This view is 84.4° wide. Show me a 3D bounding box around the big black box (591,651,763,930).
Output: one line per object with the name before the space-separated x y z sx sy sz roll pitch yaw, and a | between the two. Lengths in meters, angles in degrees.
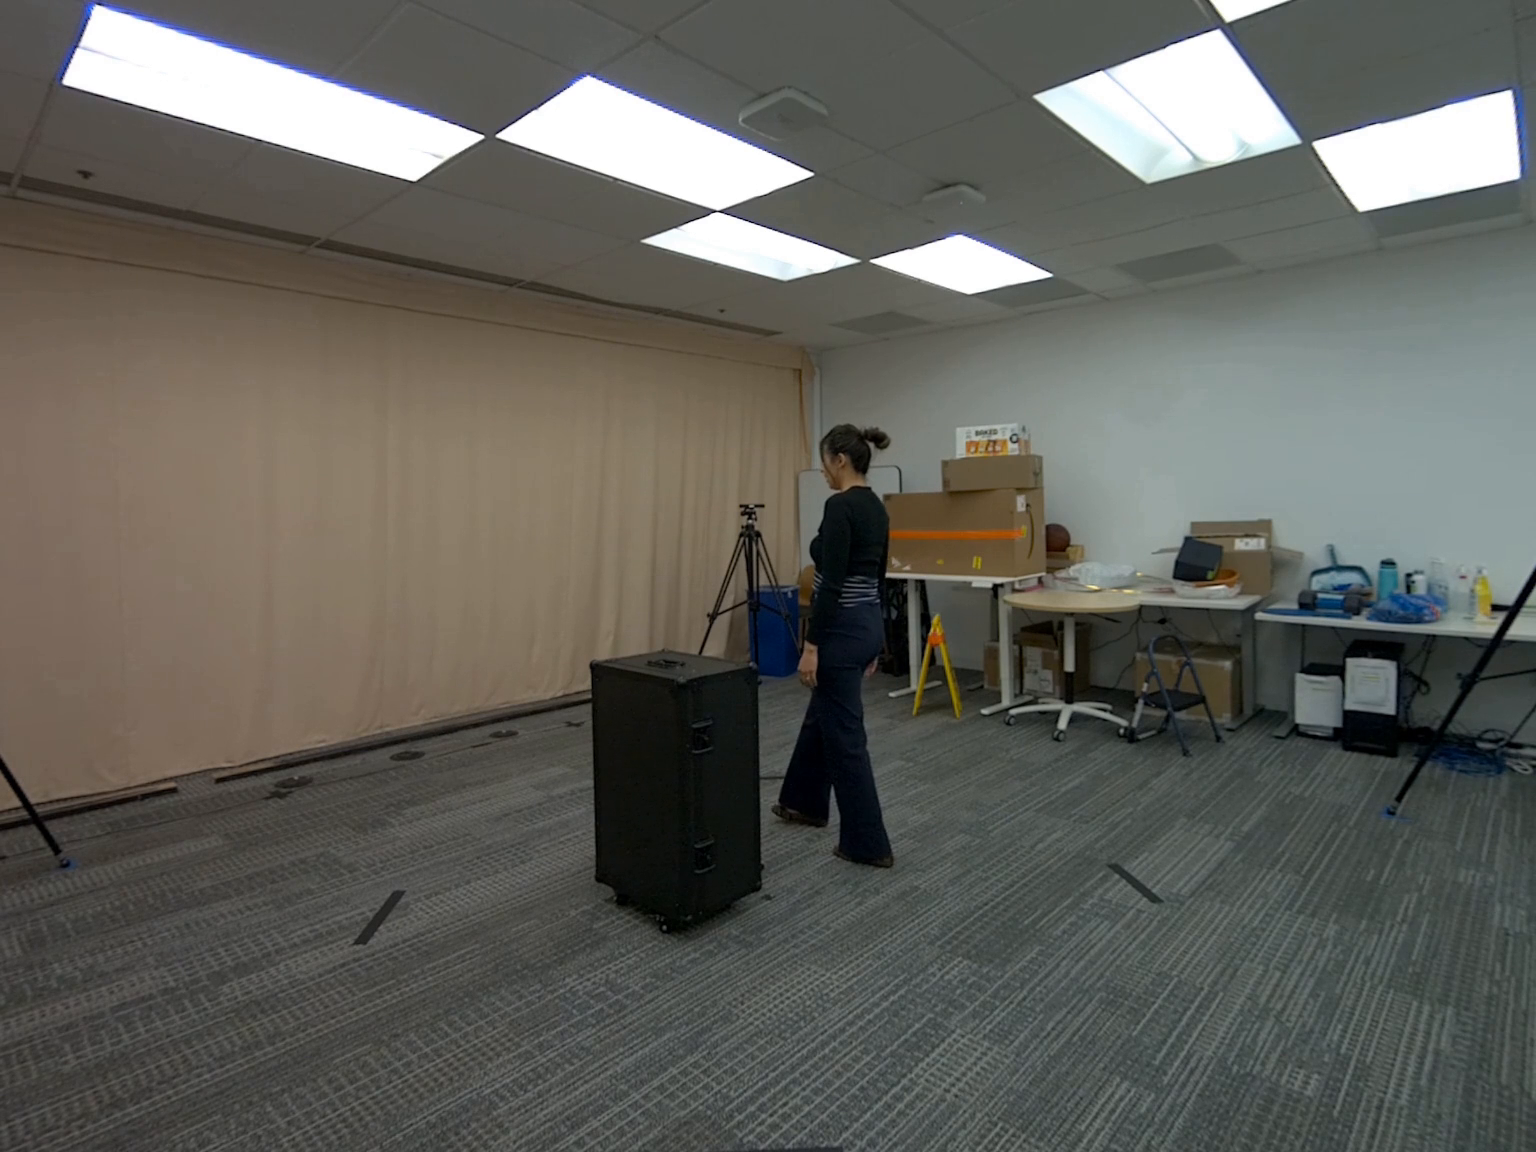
big black box | -0.312 0.671 2.924 0.538 0.860 0.384 2 4 44
